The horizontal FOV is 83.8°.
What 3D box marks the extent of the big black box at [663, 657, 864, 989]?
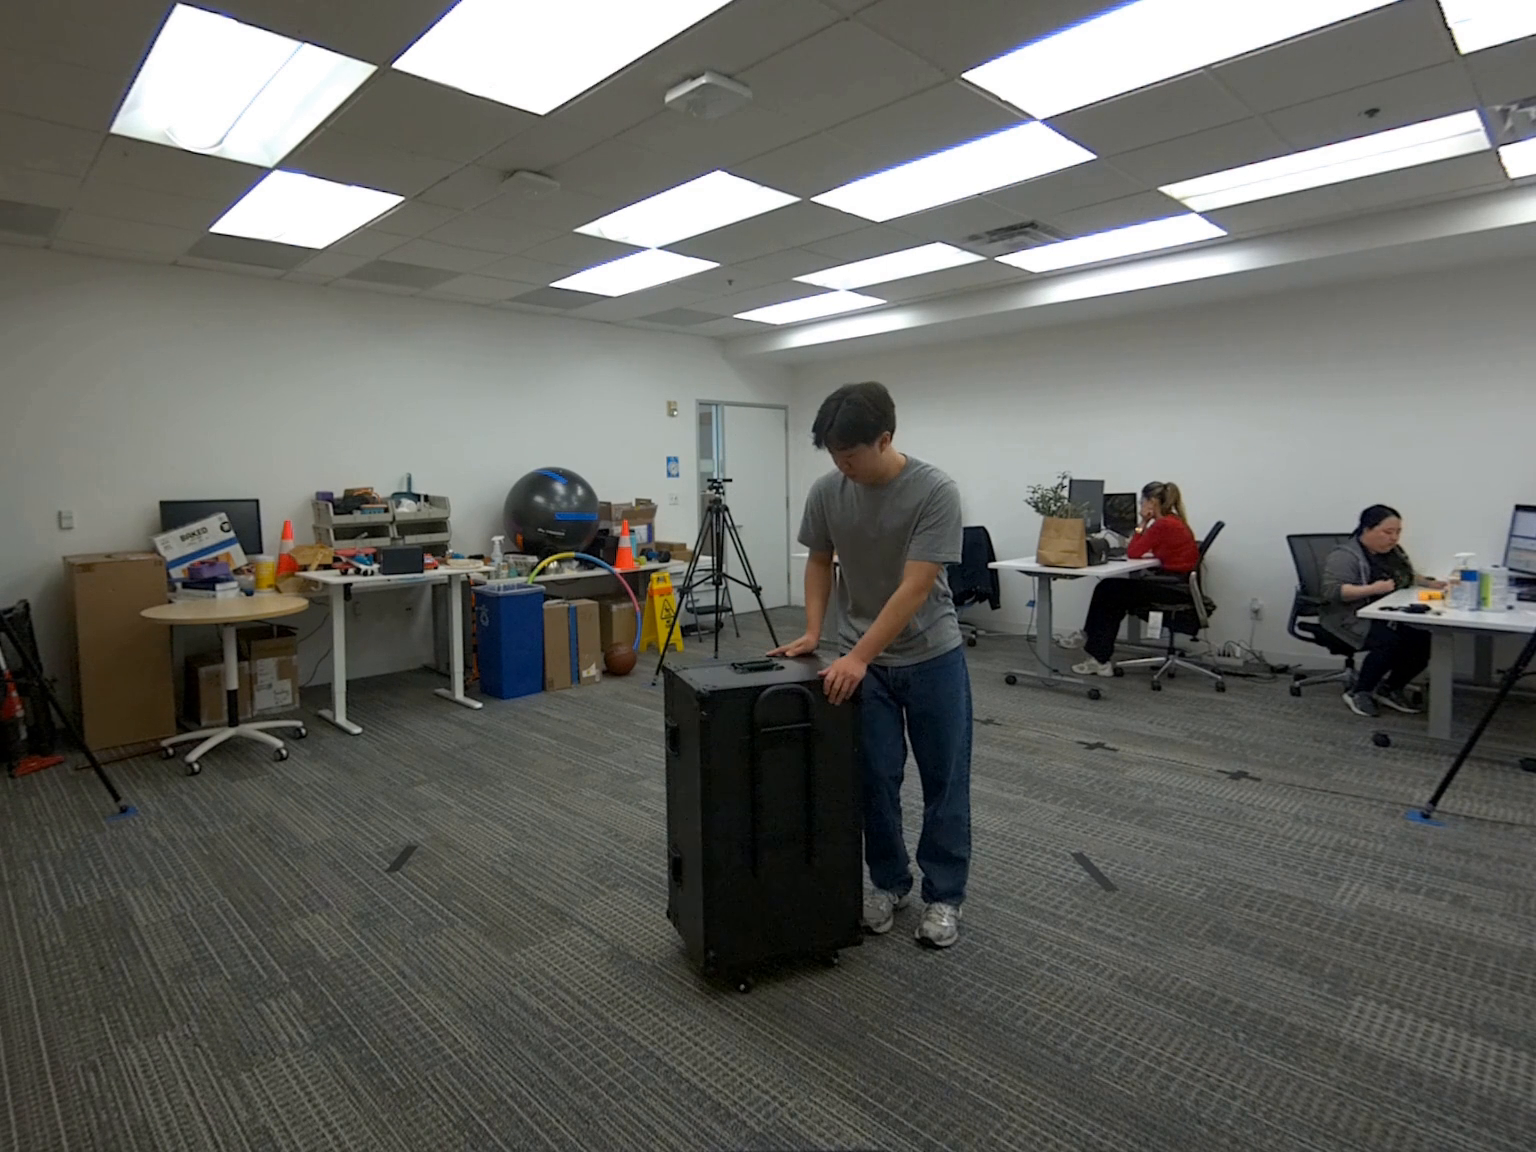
[{"bbox_3d":[-0.014,0.691,2.479,0.512,0.858,0.405,-2,5,-20],"label":"big black box"}]
